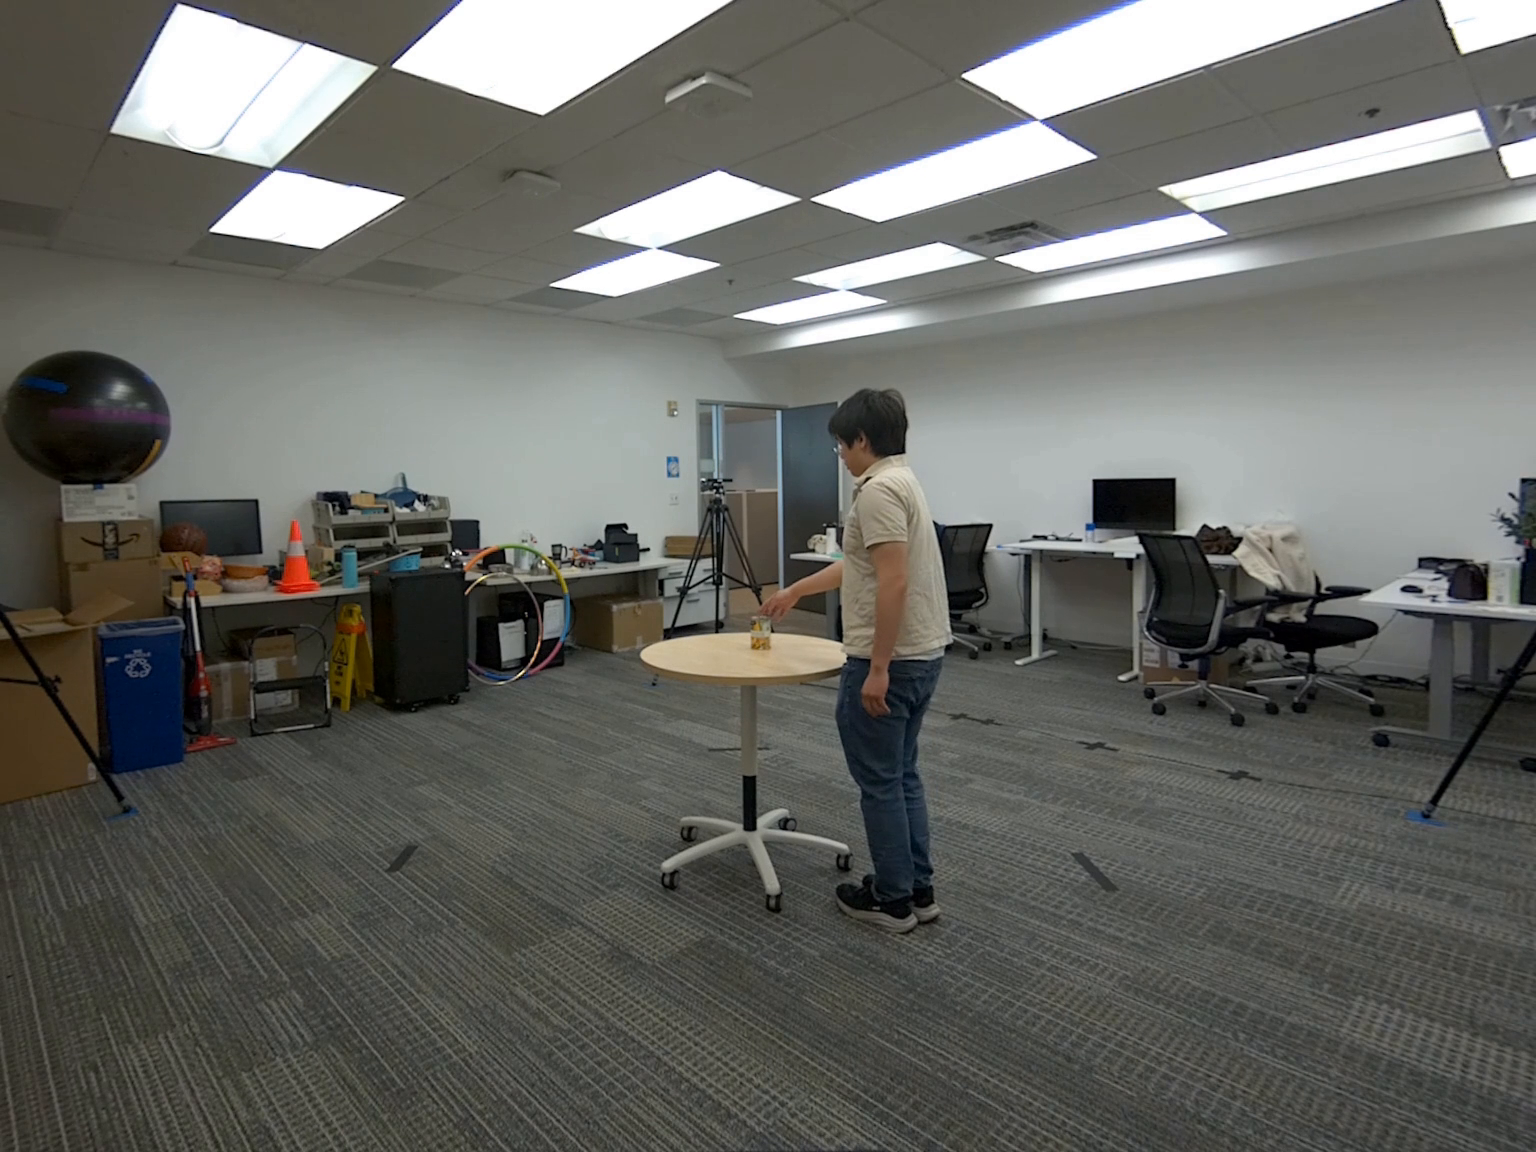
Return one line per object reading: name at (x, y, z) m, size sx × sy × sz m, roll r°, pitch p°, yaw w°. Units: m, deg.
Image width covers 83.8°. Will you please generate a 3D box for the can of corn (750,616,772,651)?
can of corn at (-0.023, 0.208, 3.097) m, size 0.074 × 0.110 × 0.074 m, roll 2°, pitch 5°, yaw -2°
